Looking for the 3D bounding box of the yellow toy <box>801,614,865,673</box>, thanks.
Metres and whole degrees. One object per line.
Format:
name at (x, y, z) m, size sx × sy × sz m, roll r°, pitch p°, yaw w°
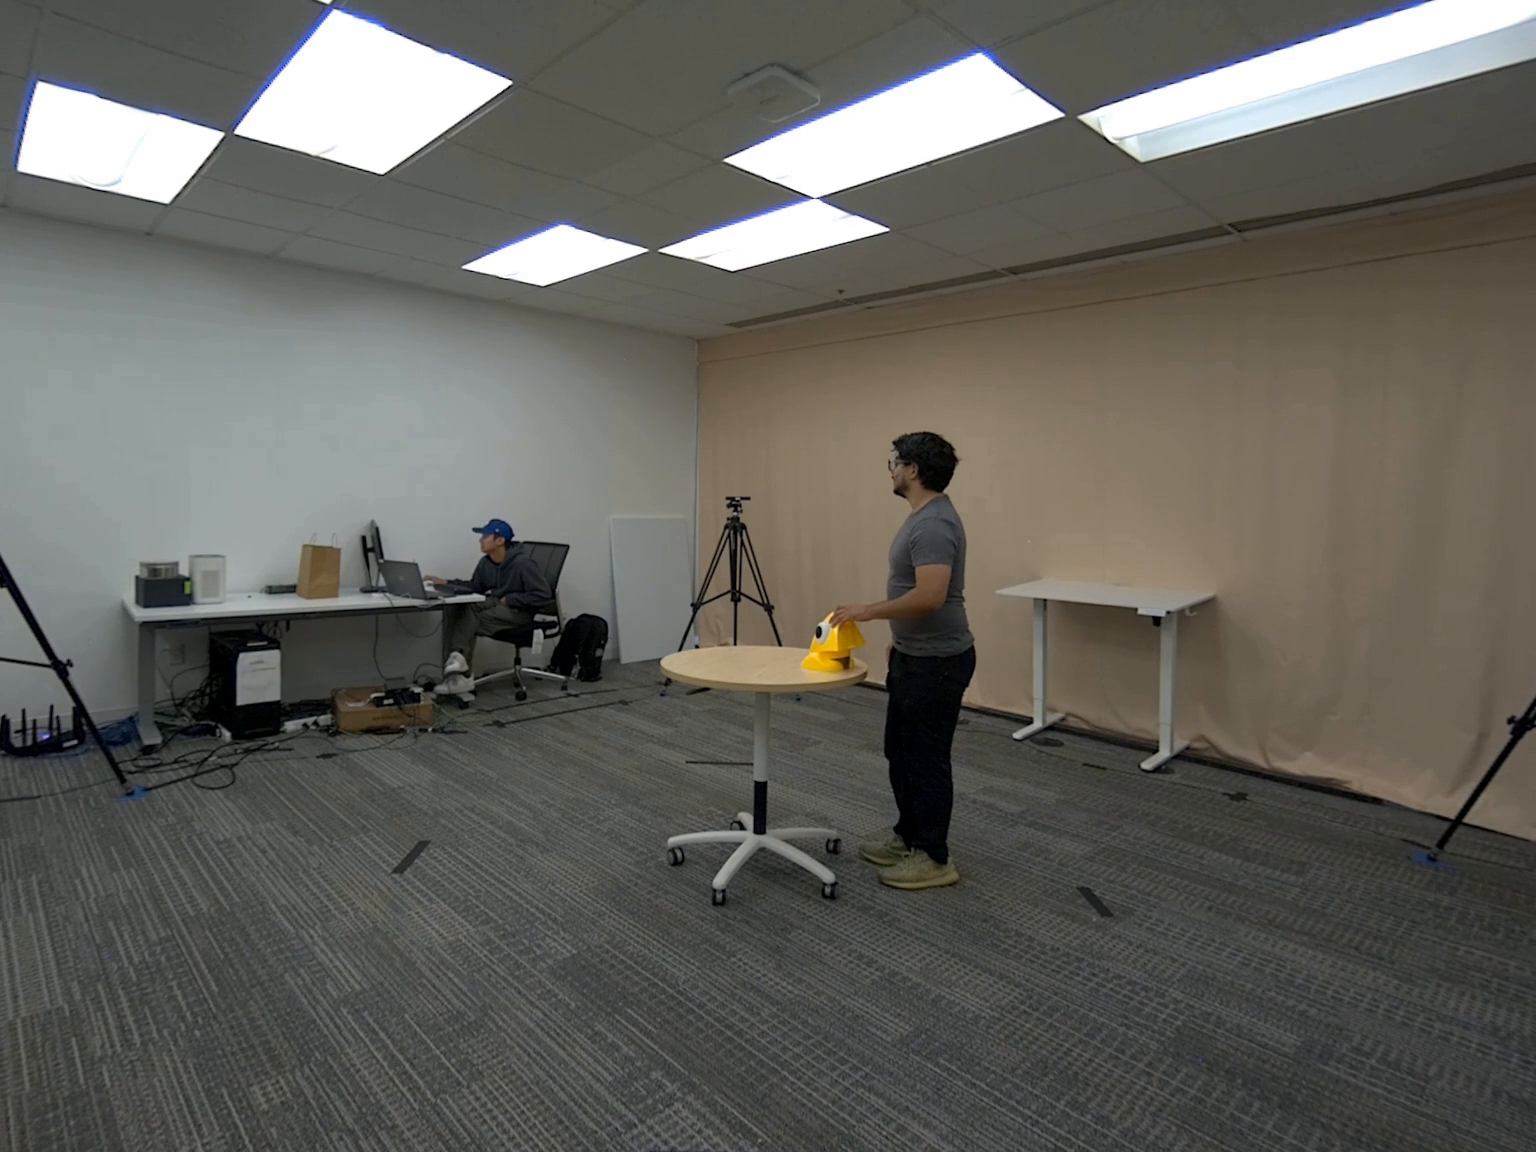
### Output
yellow toy at (0.224, 0.216, 3.080) m, size 0.198 × 0.230 × 0.200 m, roll 4°, pitch 4°, yaw 38°
